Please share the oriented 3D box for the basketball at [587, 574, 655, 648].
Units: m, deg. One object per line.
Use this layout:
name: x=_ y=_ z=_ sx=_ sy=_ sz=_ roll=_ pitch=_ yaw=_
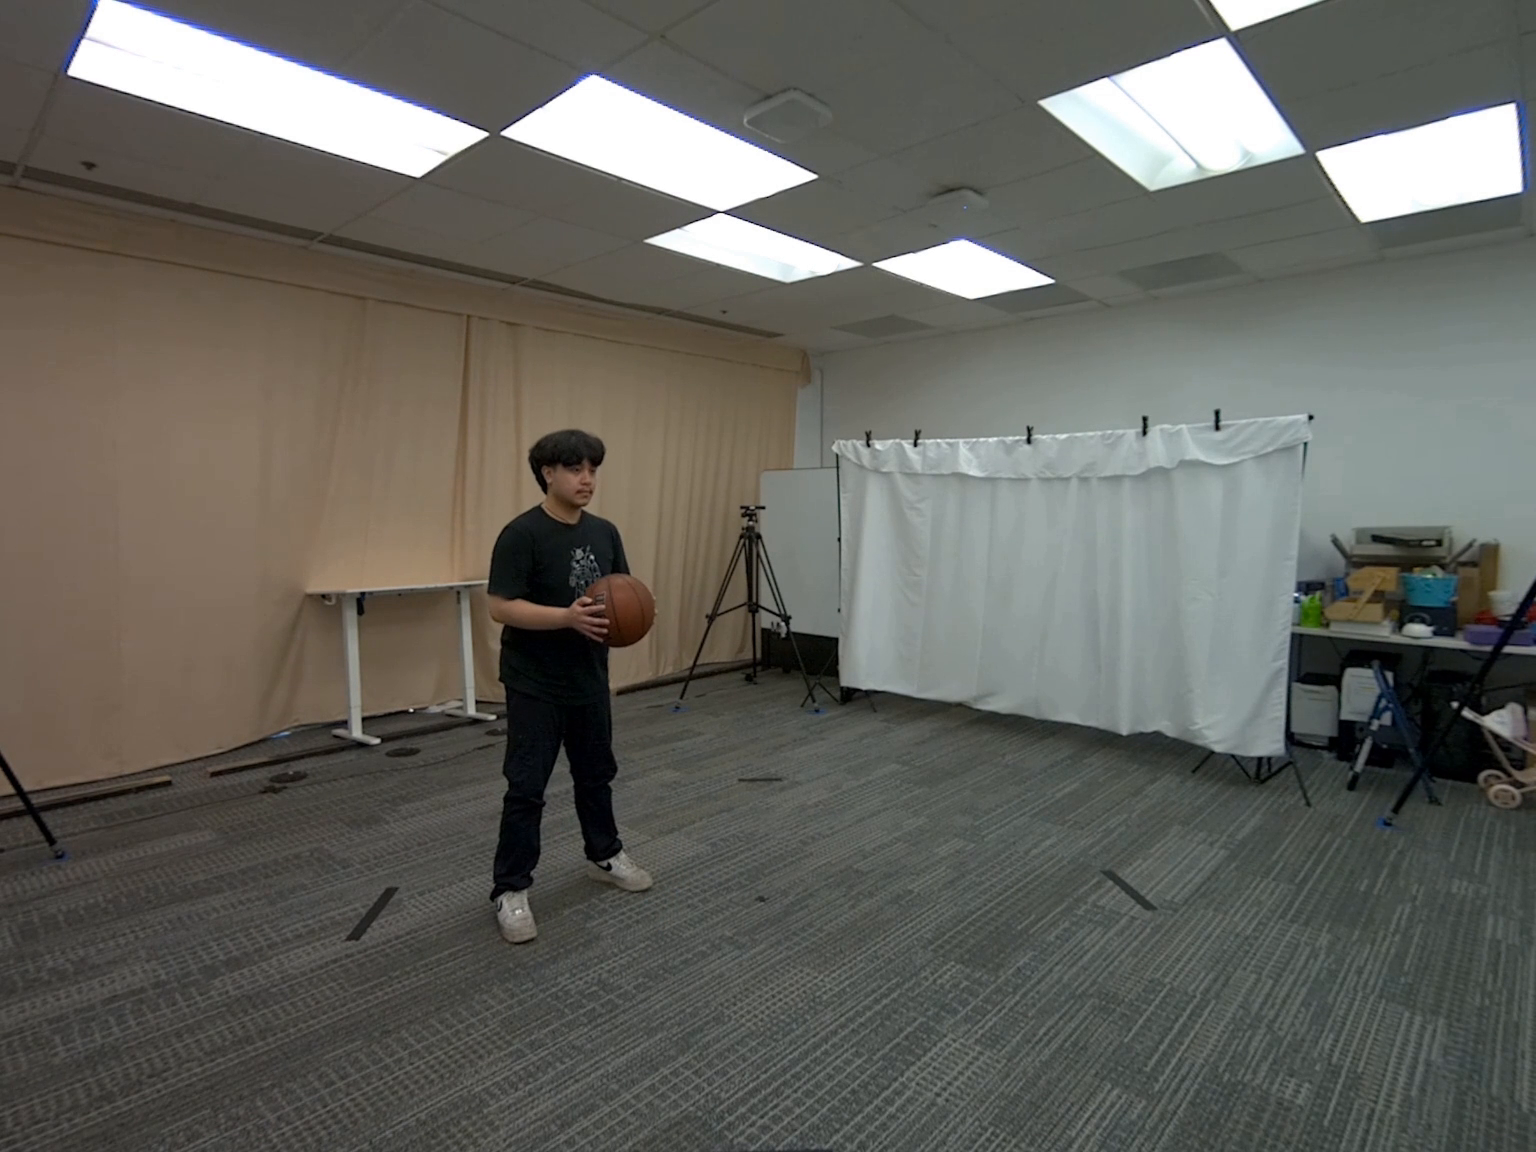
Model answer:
basketball: x=-0.484 y=0.119 z=2.704 sx=0.236 sy=0.235 sz=0.237 roll=0 pitch=4 yaw=-2
